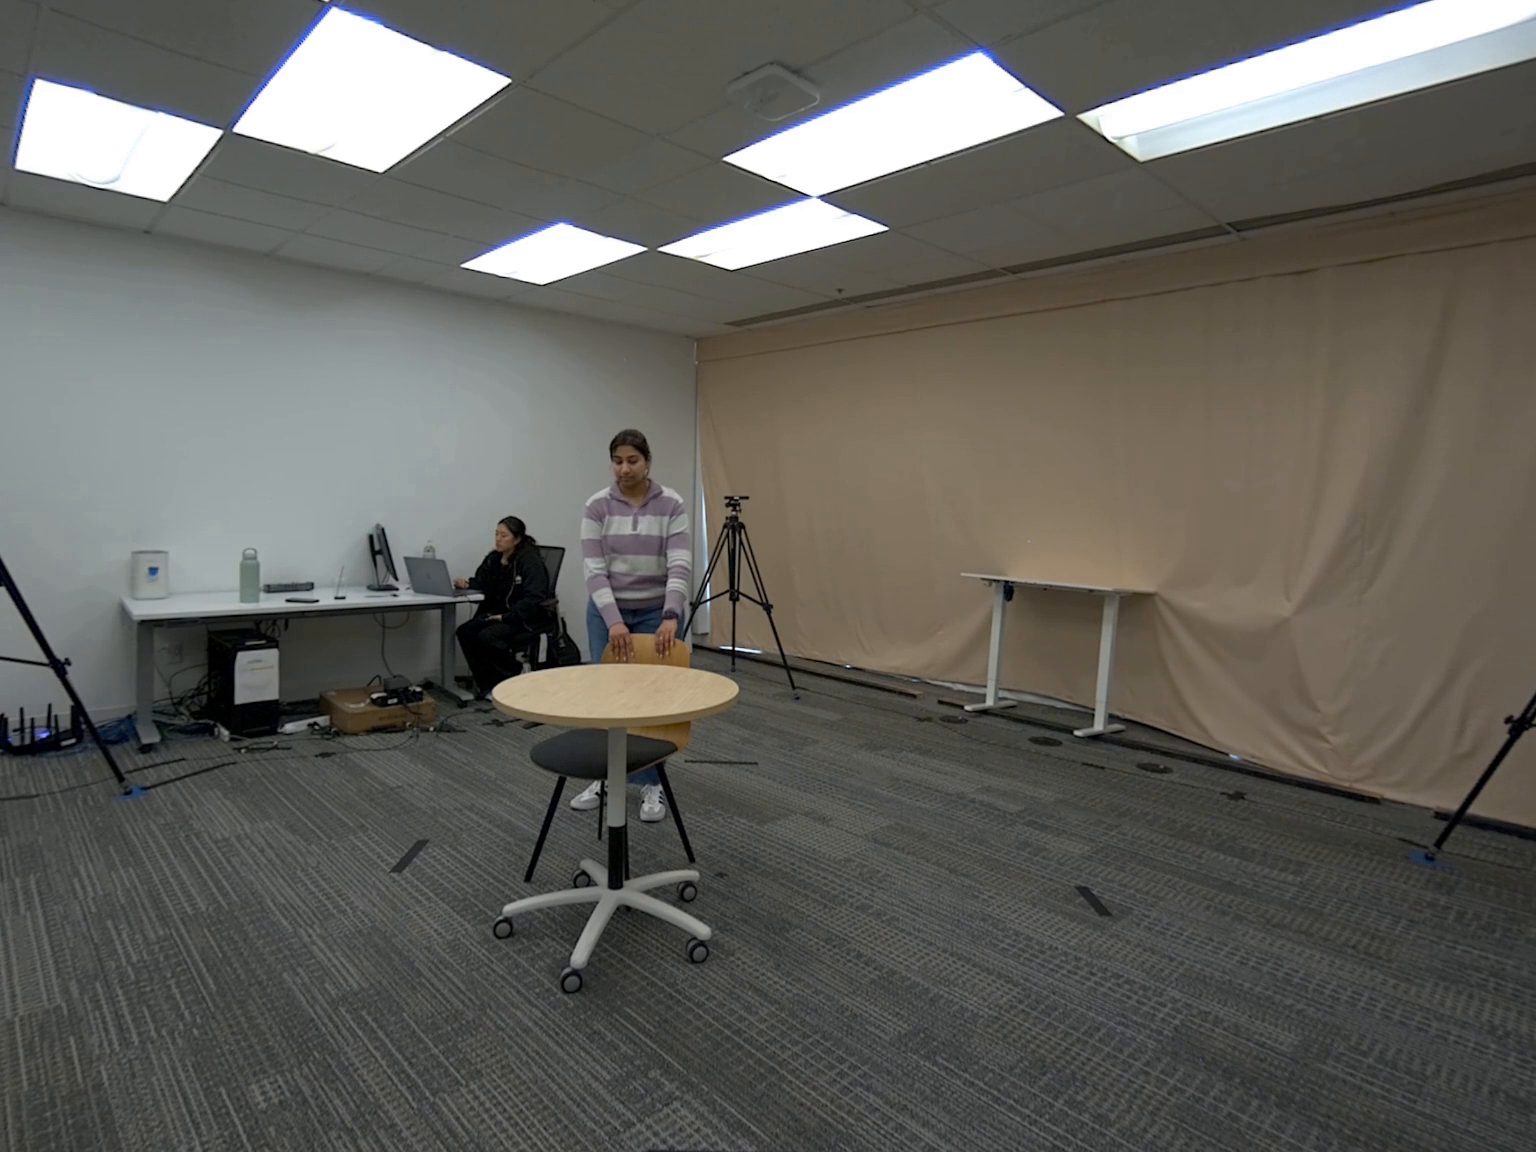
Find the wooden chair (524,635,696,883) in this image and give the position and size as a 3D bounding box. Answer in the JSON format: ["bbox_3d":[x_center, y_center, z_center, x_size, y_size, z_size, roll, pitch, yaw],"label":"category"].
[{"bbox_3d":[-0.566,0.672,3.068,0.488,0.877,0.512,3,0,27],"label":"wooden chair"}]
